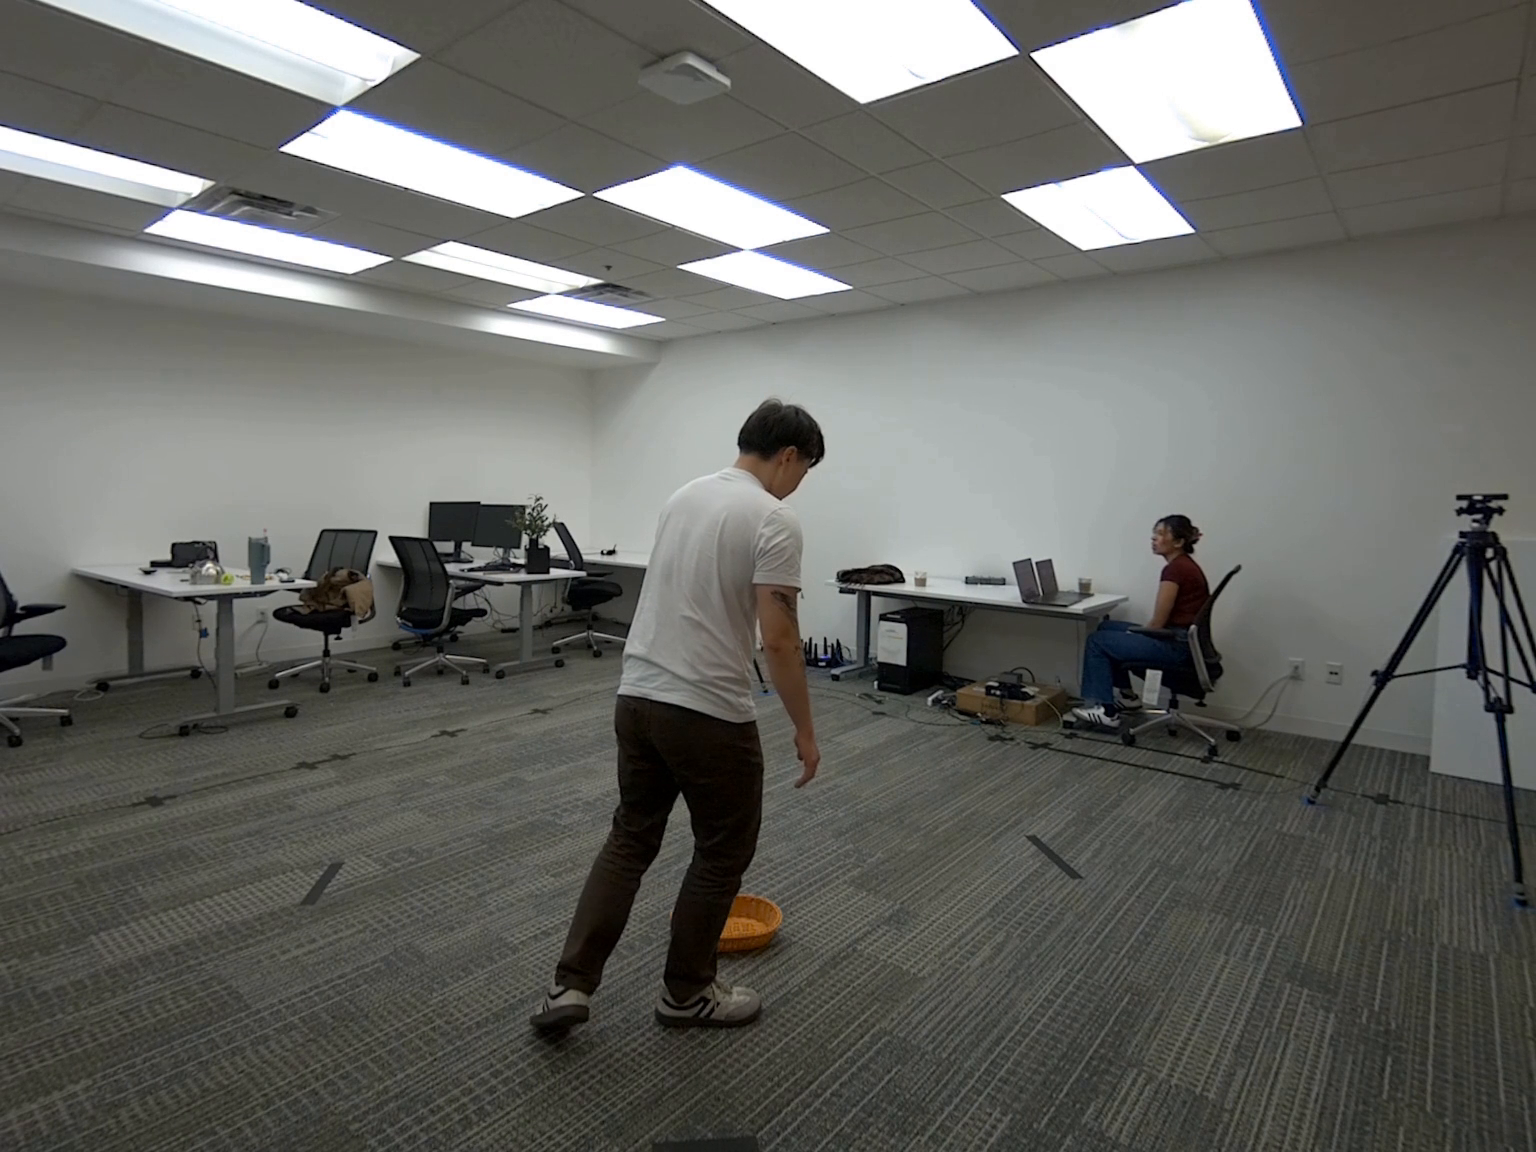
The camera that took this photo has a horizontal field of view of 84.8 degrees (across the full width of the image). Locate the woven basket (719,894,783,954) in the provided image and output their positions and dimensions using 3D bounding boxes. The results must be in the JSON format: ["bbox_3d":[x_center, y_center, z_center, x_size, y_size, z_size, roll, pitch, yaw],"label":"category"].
[{"bbox_3d":[-0.135,1.074,2.623,0.347,0.073,0.256,0,6,-9],"label":"woven basket"}]
